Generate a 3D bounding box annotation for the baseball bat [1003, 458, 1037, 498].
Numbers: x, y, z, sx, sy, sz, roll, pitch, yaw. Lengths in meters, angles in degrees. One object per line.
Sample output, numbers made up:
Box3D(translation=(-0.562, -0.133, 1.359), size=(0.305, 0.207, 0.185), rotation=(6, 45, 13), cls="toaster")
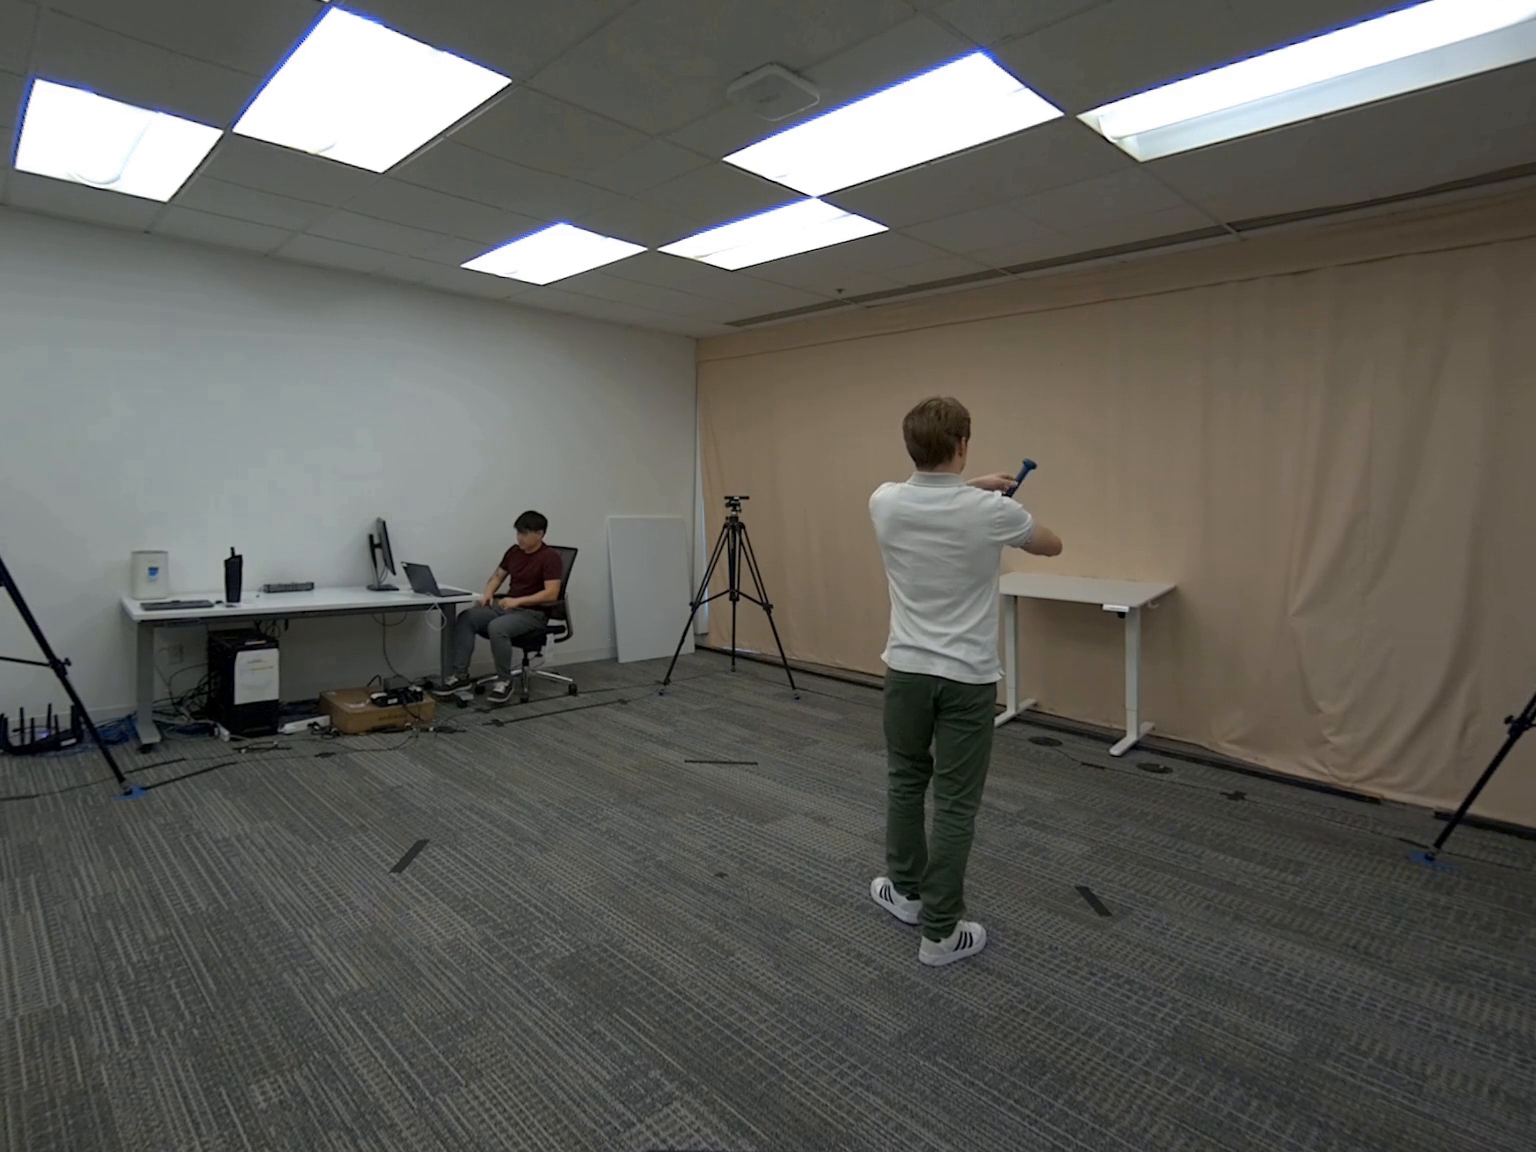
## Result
Box3D(translation=(0.791, -0.168, 2.966), size=(0.088, 0.541, 0.090), rotation=(28, 14, -9), cls="baseball bat")
